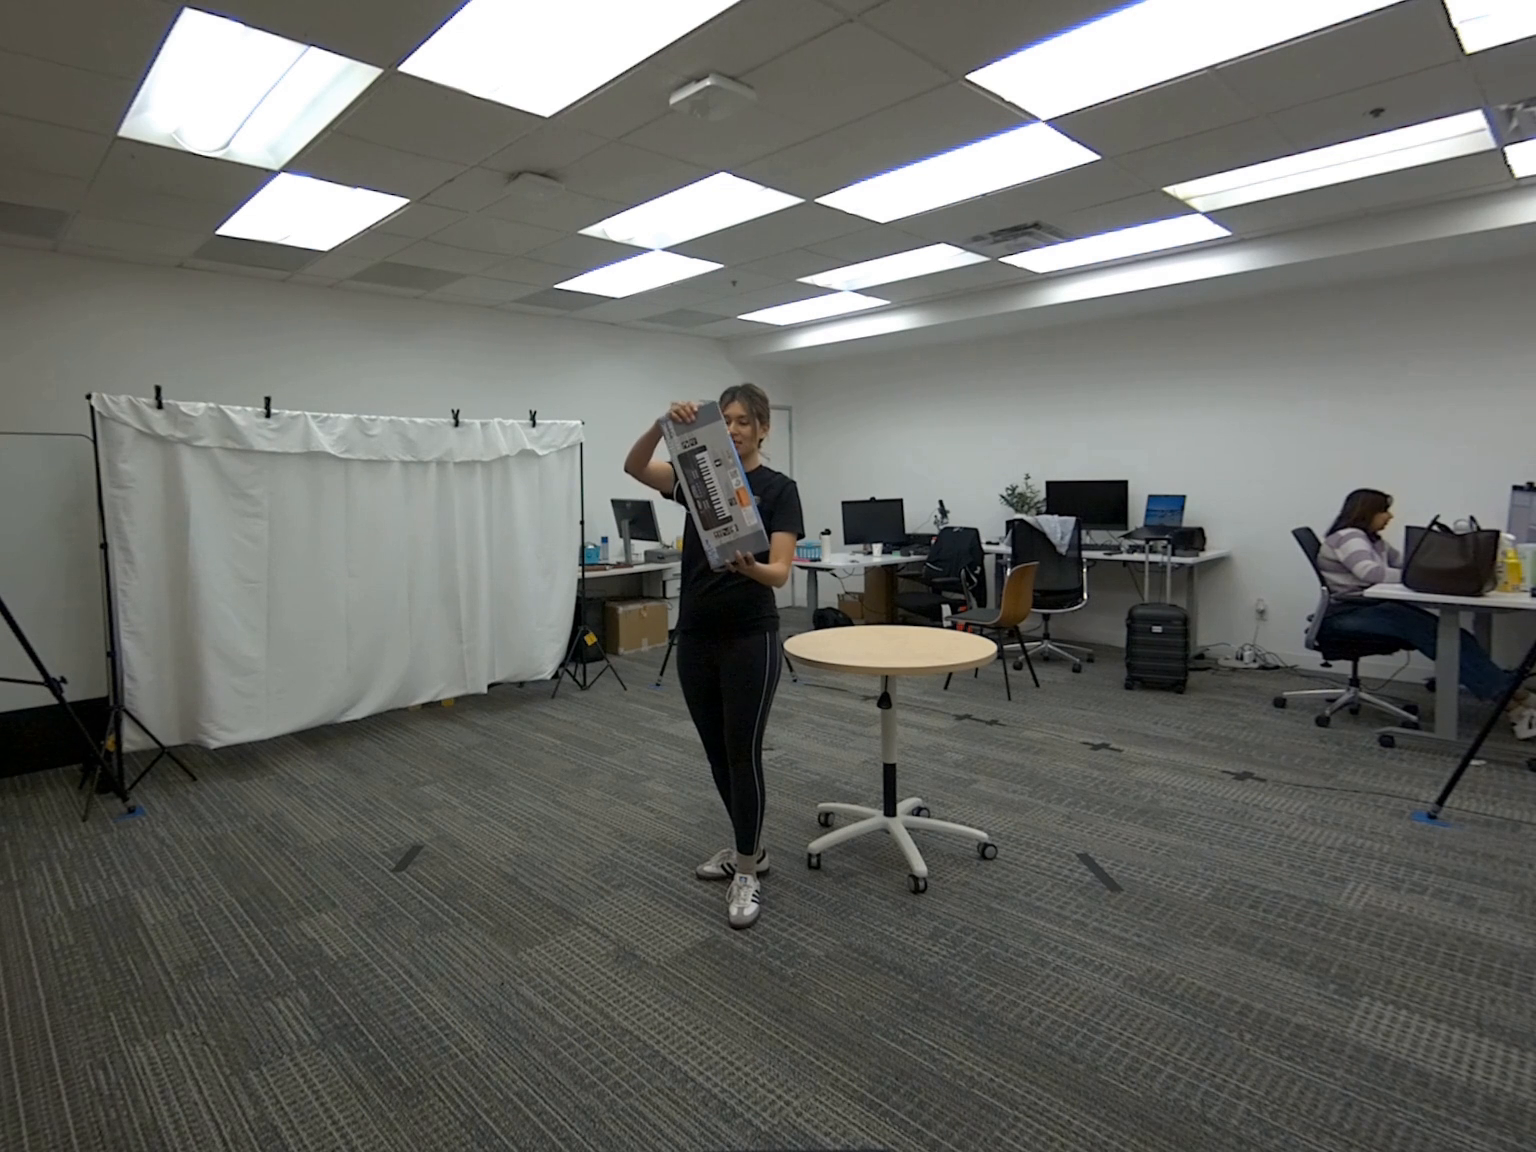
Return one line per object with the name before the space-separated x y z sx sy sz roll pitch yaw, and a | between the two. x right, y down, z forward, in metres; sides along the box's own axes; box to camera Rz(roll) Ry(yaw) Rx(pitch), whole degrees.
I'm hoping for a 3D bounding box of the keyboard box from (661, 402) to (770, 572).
keyboard box | -0.153 -0.248 2.377 0.176 0.439 0.058 -19 -5 4
